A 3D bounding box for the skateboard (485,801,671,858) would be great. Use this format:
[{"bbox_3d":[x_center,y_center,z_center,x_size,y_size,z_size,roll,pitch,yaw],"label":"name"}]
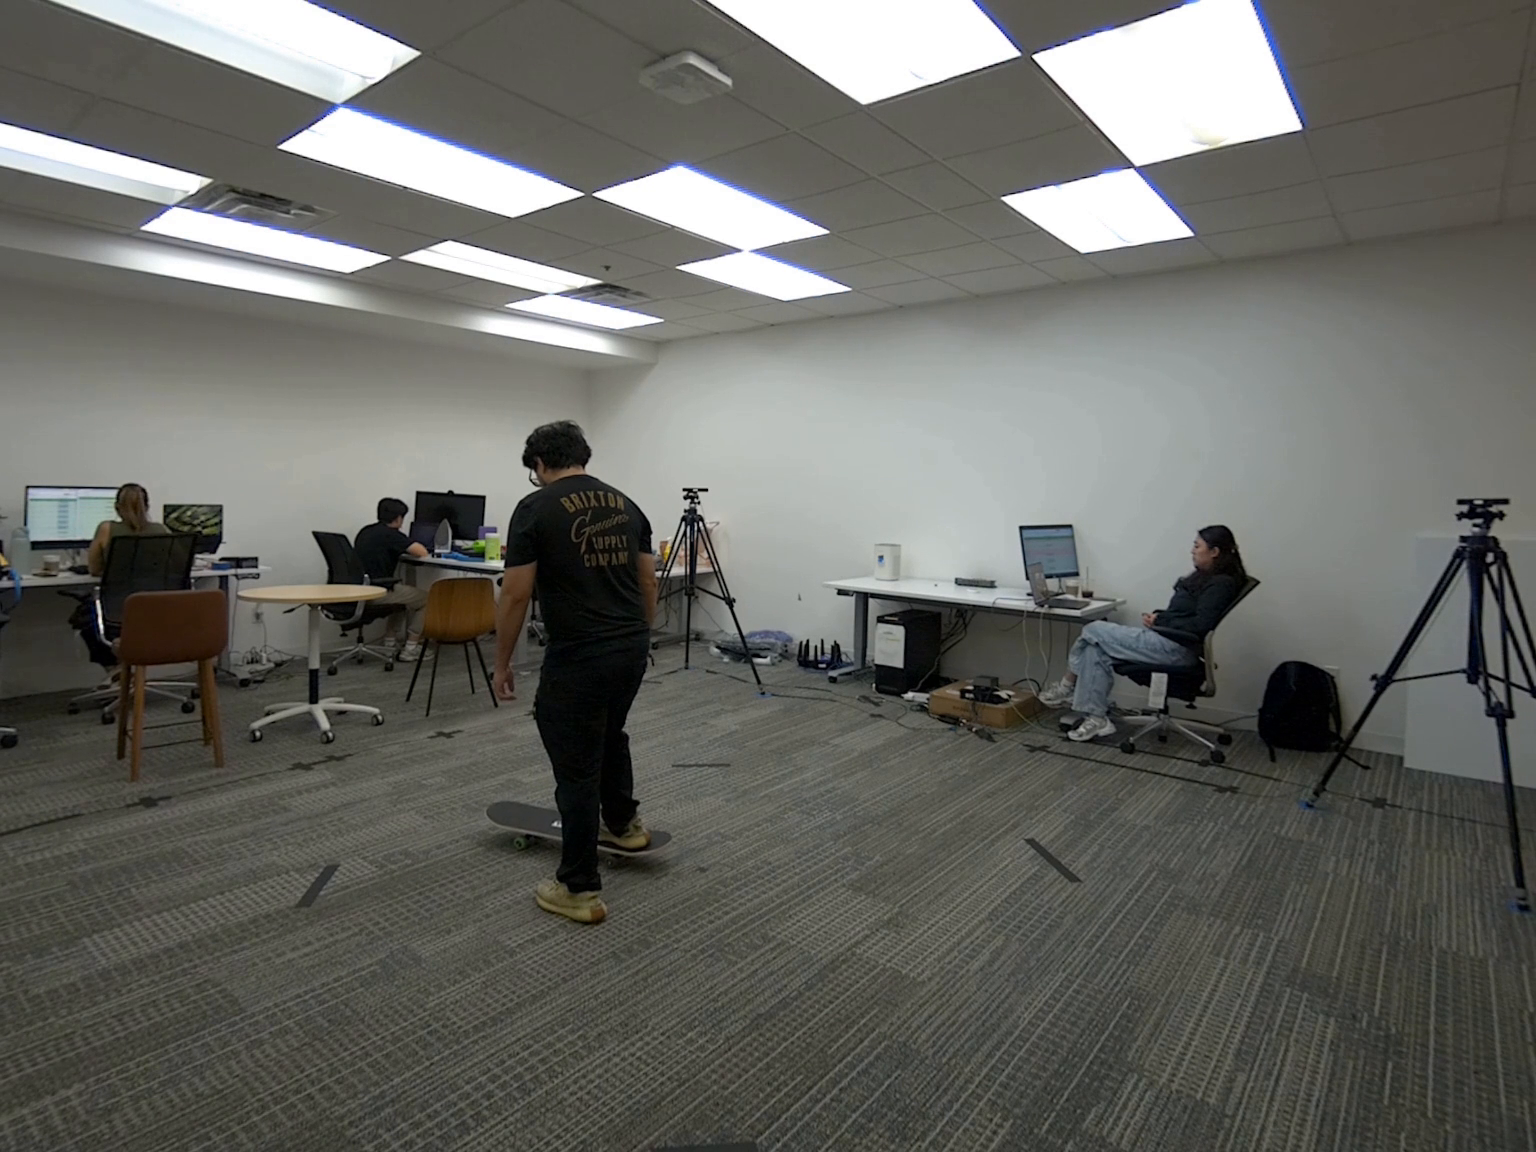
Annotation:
[{"bbox_3d":[-0.749,0.990,3.249,0.803,0.109,0.191,5,10,20],"label":"skateboard"}]
